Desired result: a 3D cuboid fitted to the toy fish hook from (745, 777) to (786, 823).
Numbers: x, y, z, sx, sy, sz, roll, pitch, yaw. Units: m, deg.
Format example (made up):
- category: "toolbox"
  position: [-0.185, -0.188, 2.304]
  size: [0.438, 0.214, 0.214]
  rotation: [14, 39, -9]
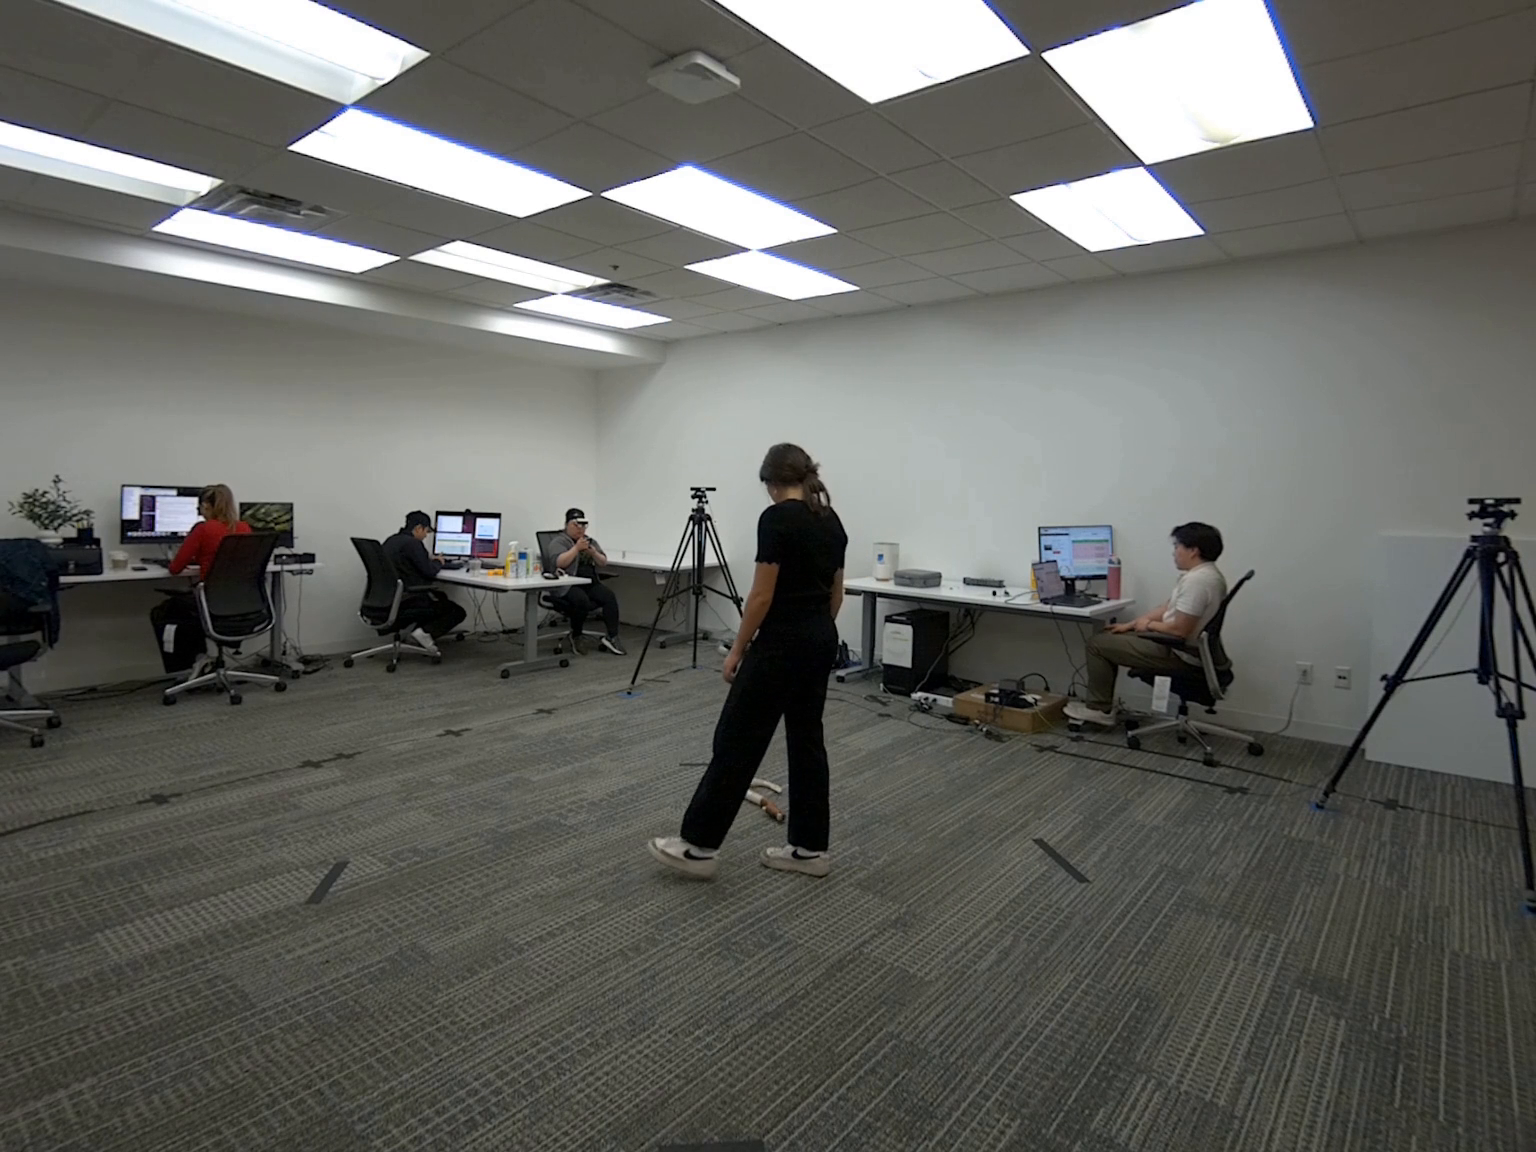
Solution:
- category: "toy fish hook"
  position: [-0.007, 0.983, 3.792]
  size: [0.220, 0.048, 0.520]
  rotation: [-2, 7, -24]
